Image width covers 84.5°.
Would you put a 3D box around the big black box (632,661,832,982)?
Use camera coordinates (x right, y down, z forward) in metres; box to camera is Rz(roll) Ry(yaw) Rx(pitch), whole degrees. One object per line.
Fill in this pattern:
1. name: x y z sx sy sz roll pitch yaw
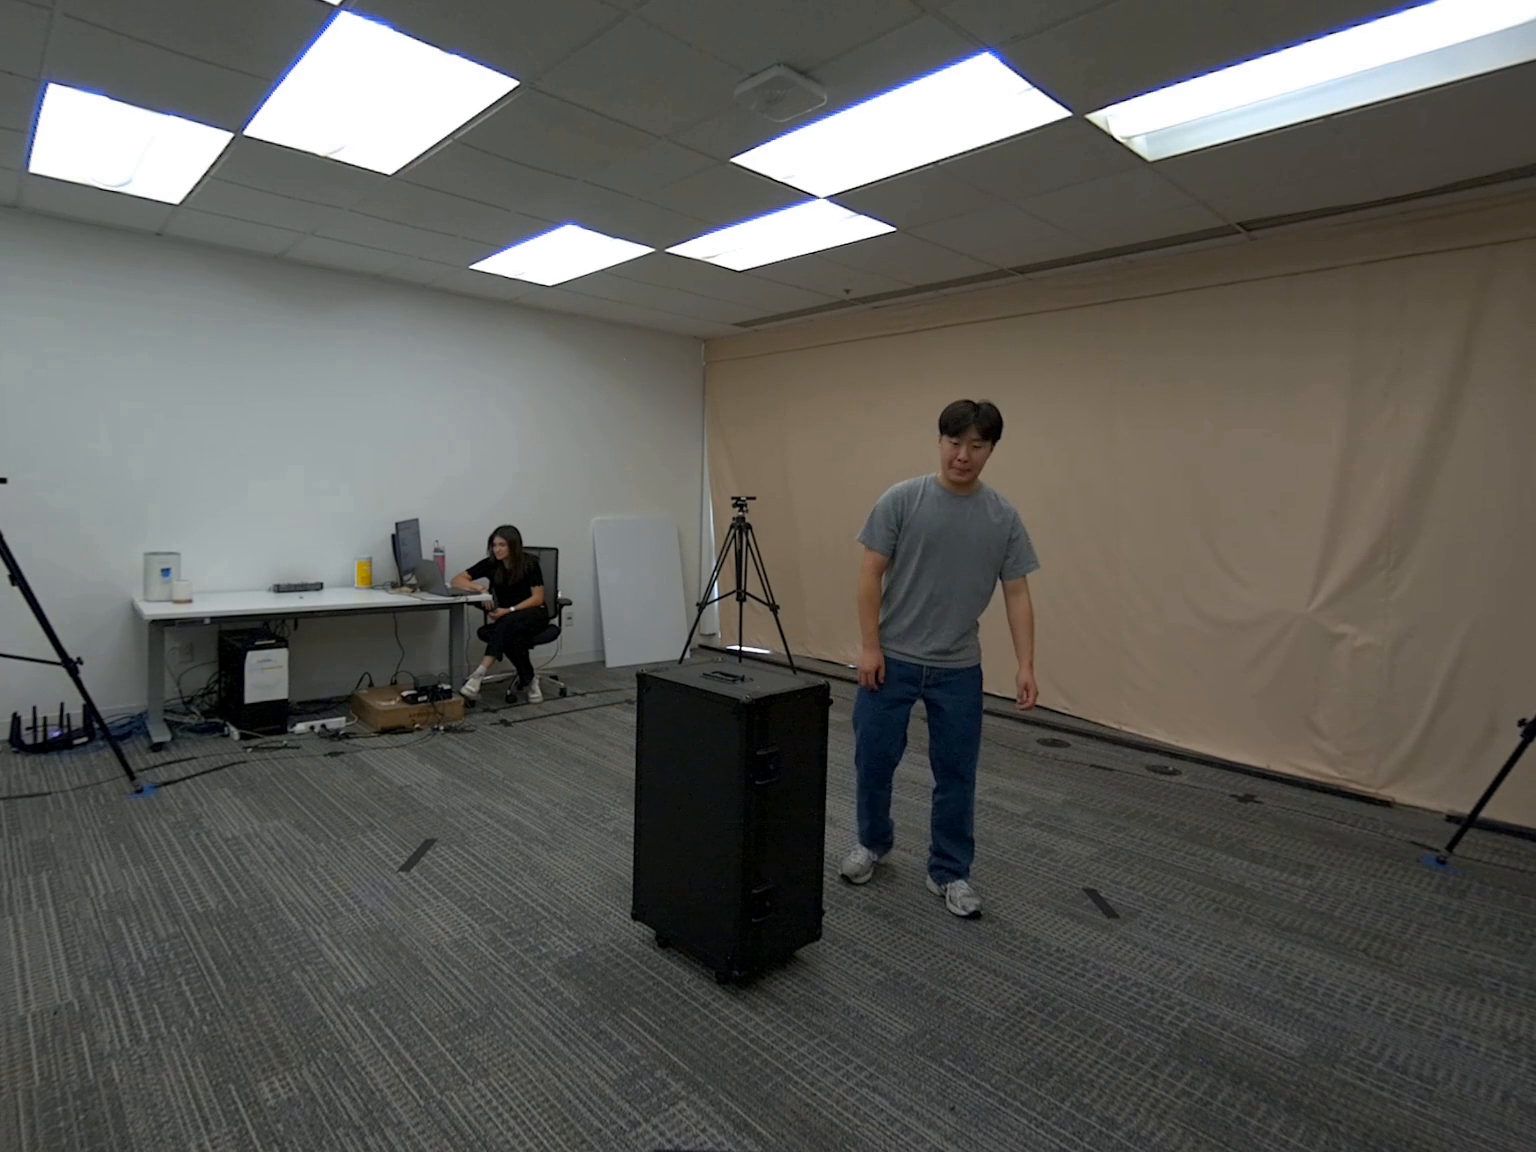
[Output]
1. big black box: -0.121 0.729 2.570 0.534 0.860 0.387 5 4 44
